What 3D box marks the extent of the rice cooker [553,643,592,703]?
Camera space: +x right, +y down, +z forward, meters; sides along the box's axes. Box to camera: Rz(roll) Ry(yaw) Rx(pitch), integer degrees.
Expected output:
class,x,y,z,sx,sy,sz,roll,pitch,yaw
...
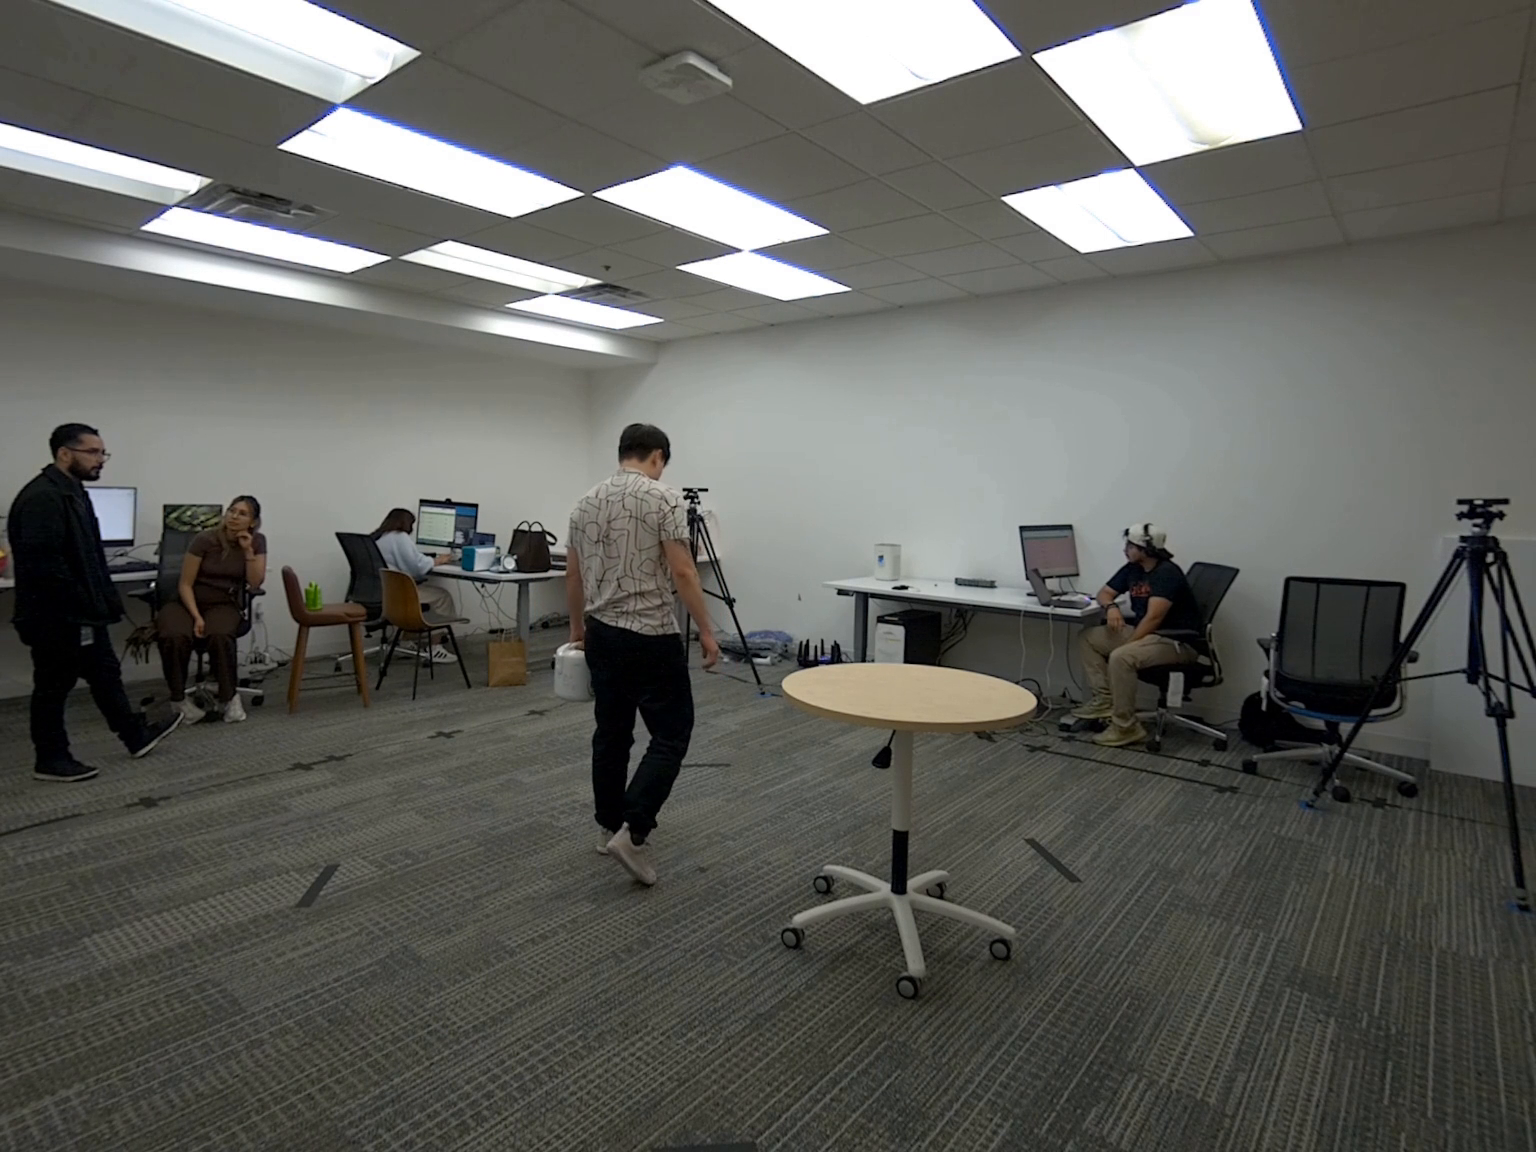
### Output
class,x,y,z,sx,sy,sz,roll,pitch,yaw
rice cooker,-0.770,0.372,3.423,0.214,0.231,0.225,-2,9,-43
